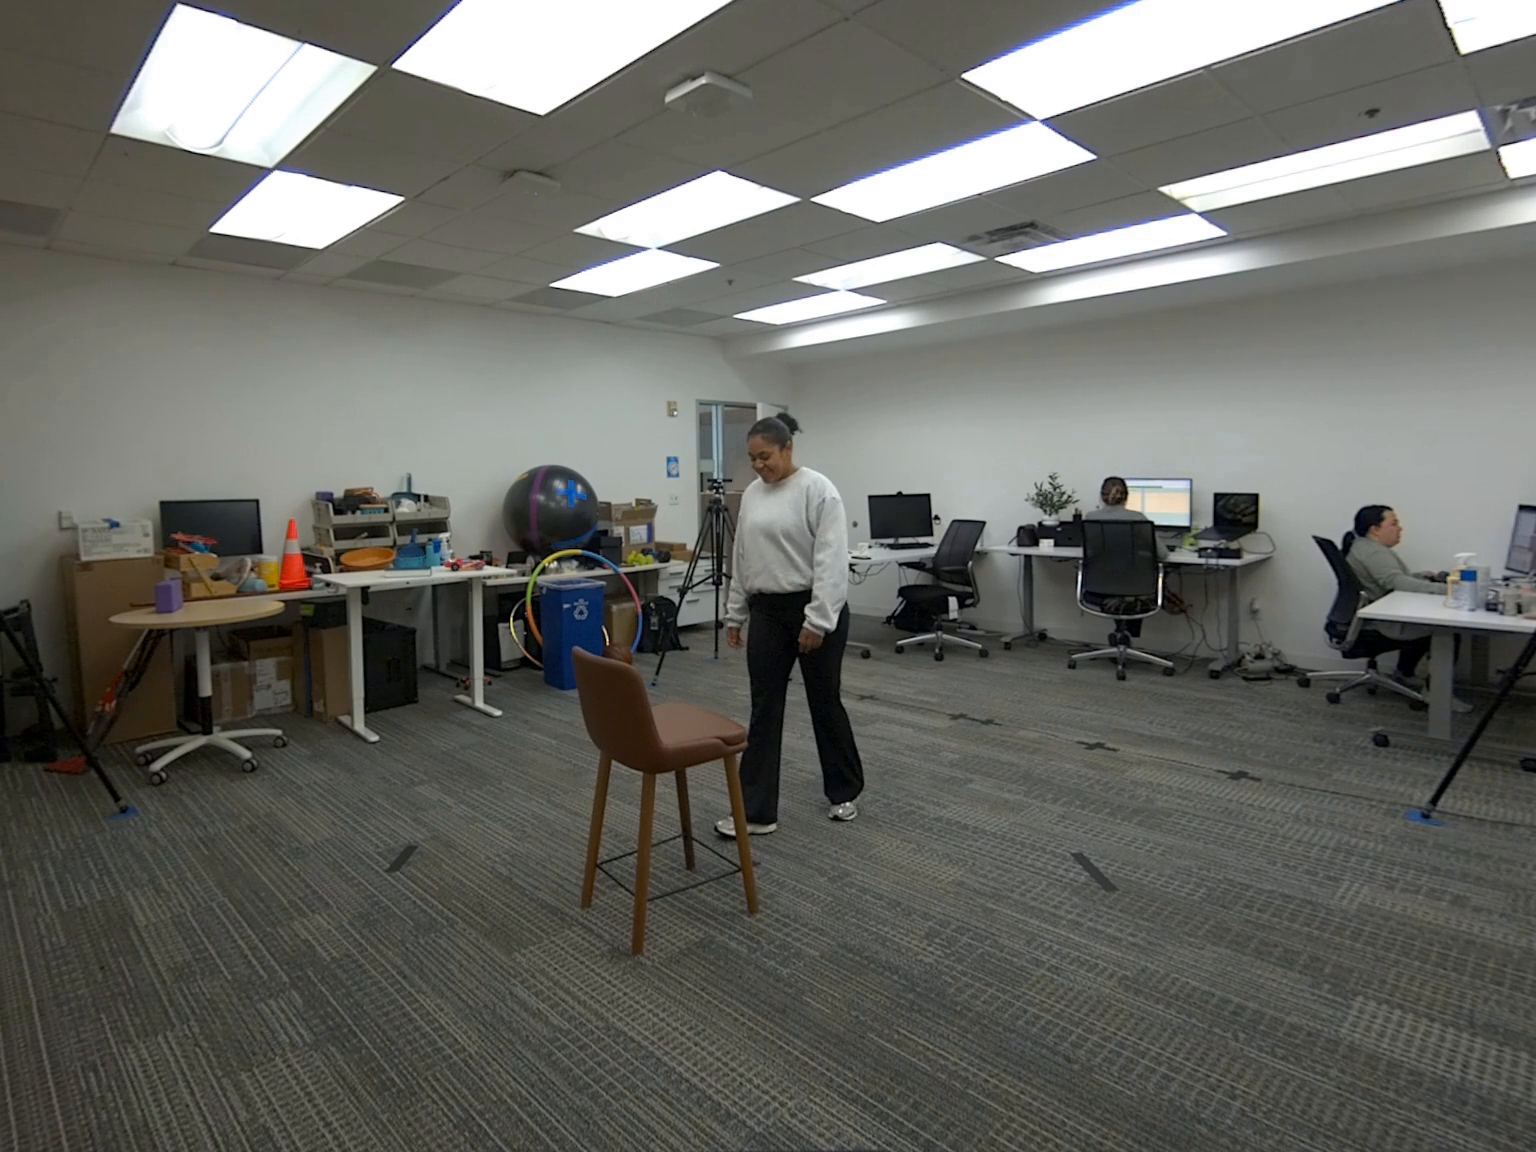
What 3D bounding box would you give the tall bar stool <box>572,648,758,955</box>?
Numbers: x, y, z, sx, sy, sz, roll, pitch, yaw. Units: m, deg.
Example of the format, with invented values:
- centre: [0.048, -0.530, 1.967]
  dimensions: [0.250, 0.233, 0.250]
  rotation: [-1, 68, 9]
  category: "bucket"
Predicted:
- centre: [-0.341, 0.656, 2.764]
  dimensions: [0.456, 0.885, 0.470]
  rotation: [-7, 7, -36]
  category: "tall bar stool"
